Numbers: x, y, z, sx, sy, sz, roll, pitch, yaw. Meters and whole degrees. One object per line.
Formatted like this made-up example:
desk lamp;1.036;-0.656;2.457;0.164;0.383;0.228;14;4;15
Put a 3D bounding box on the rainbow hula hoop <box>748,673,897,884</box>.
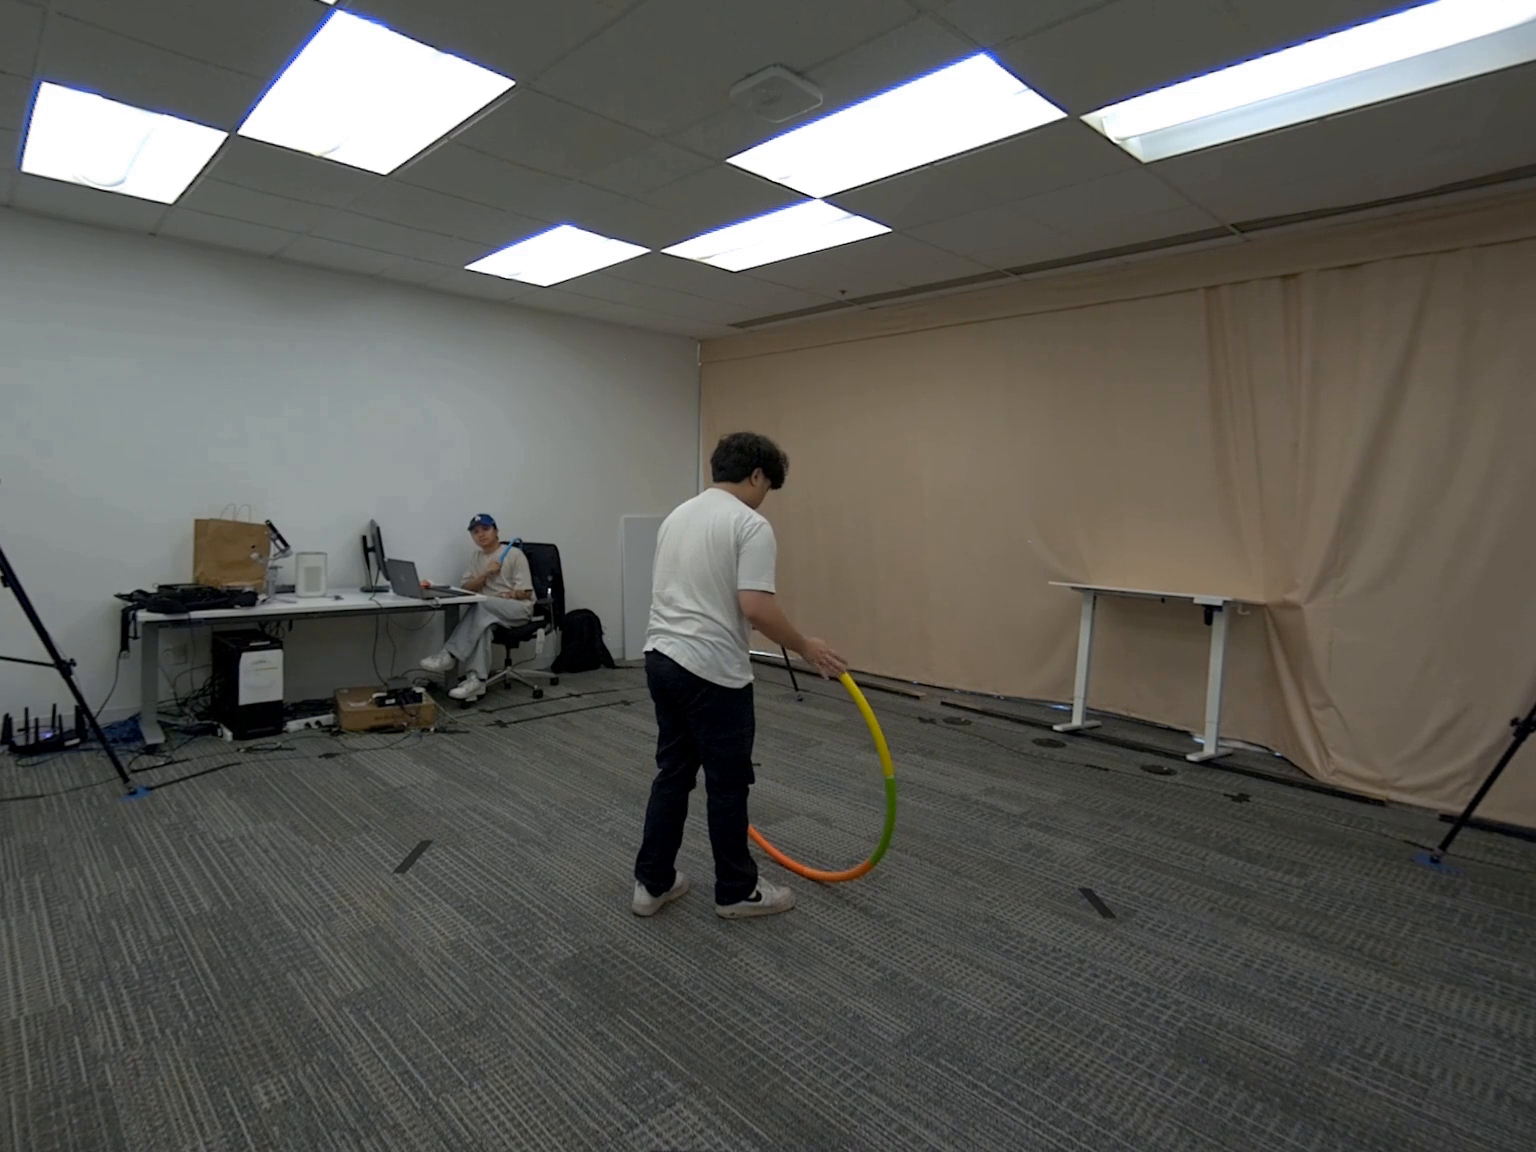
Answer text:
rainbow hula hoop;0.058;0.643;3.063;0.051;0.976;1.011;-16;15;-40
